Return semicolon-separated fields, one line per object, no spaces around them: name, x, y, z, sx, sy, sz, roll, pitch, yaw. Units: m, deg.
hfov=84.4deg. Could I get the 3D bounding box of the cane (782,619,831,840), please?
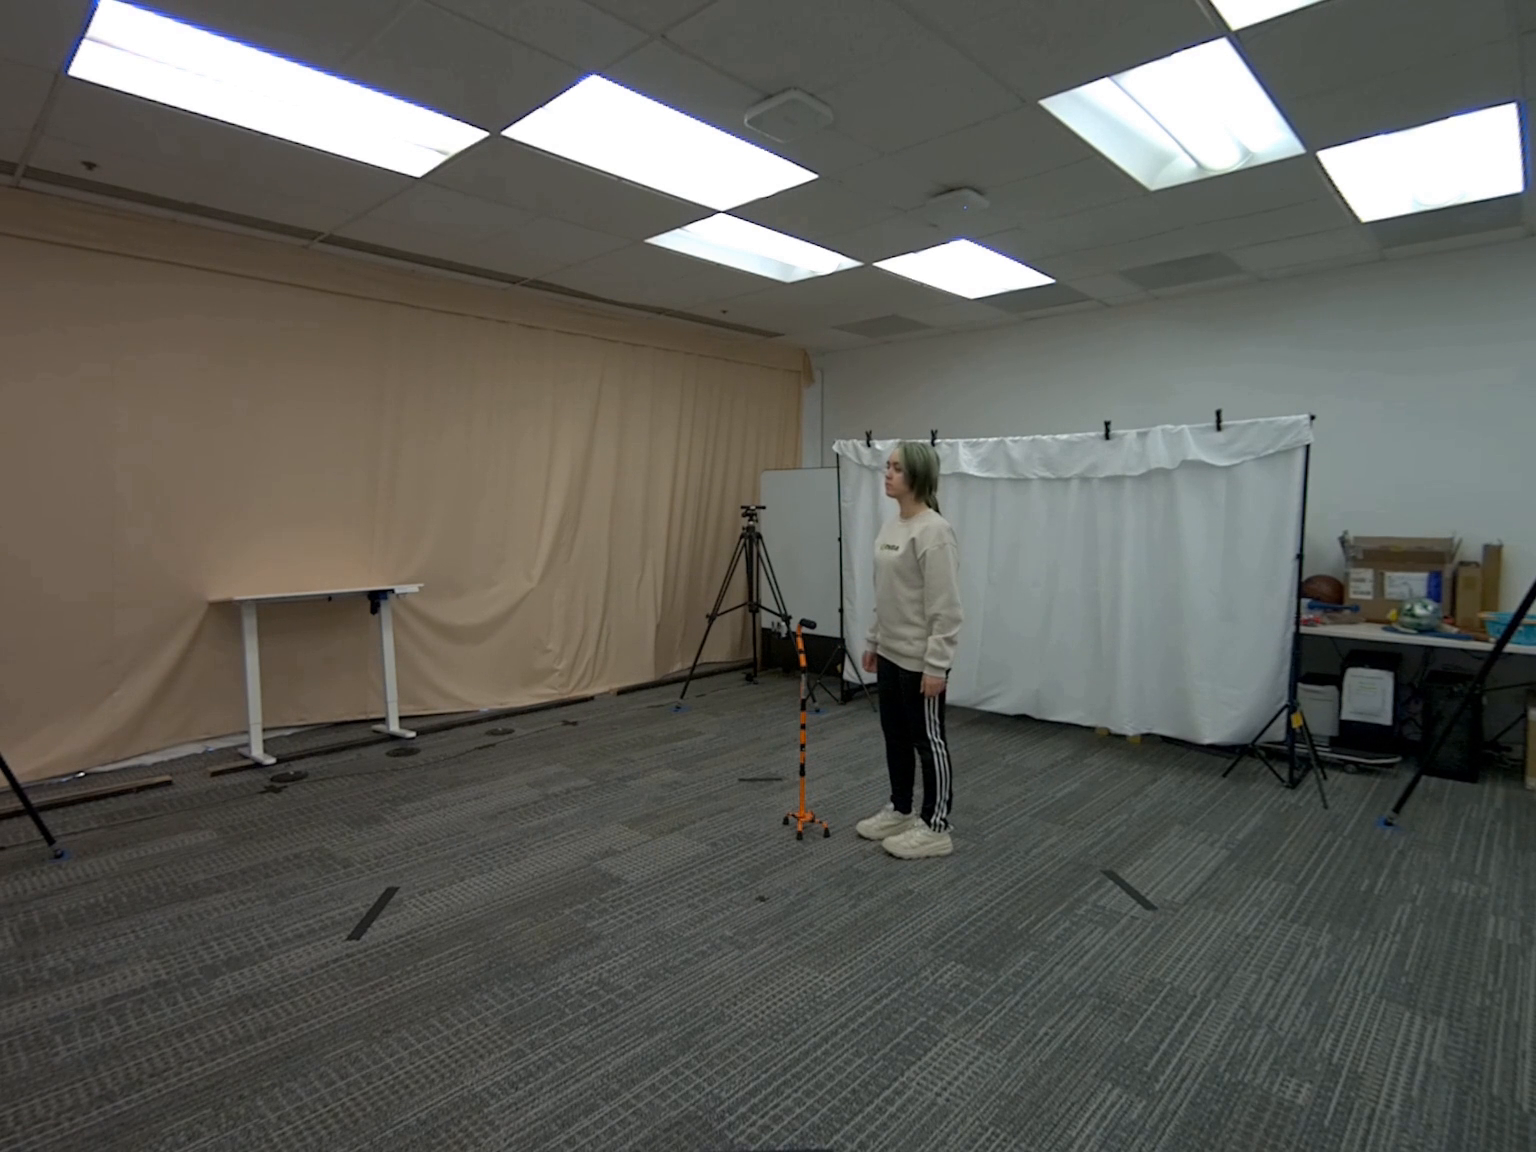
cane;0.170;0.641;3.587;0.149;0.906;0.210;0;3;-16
